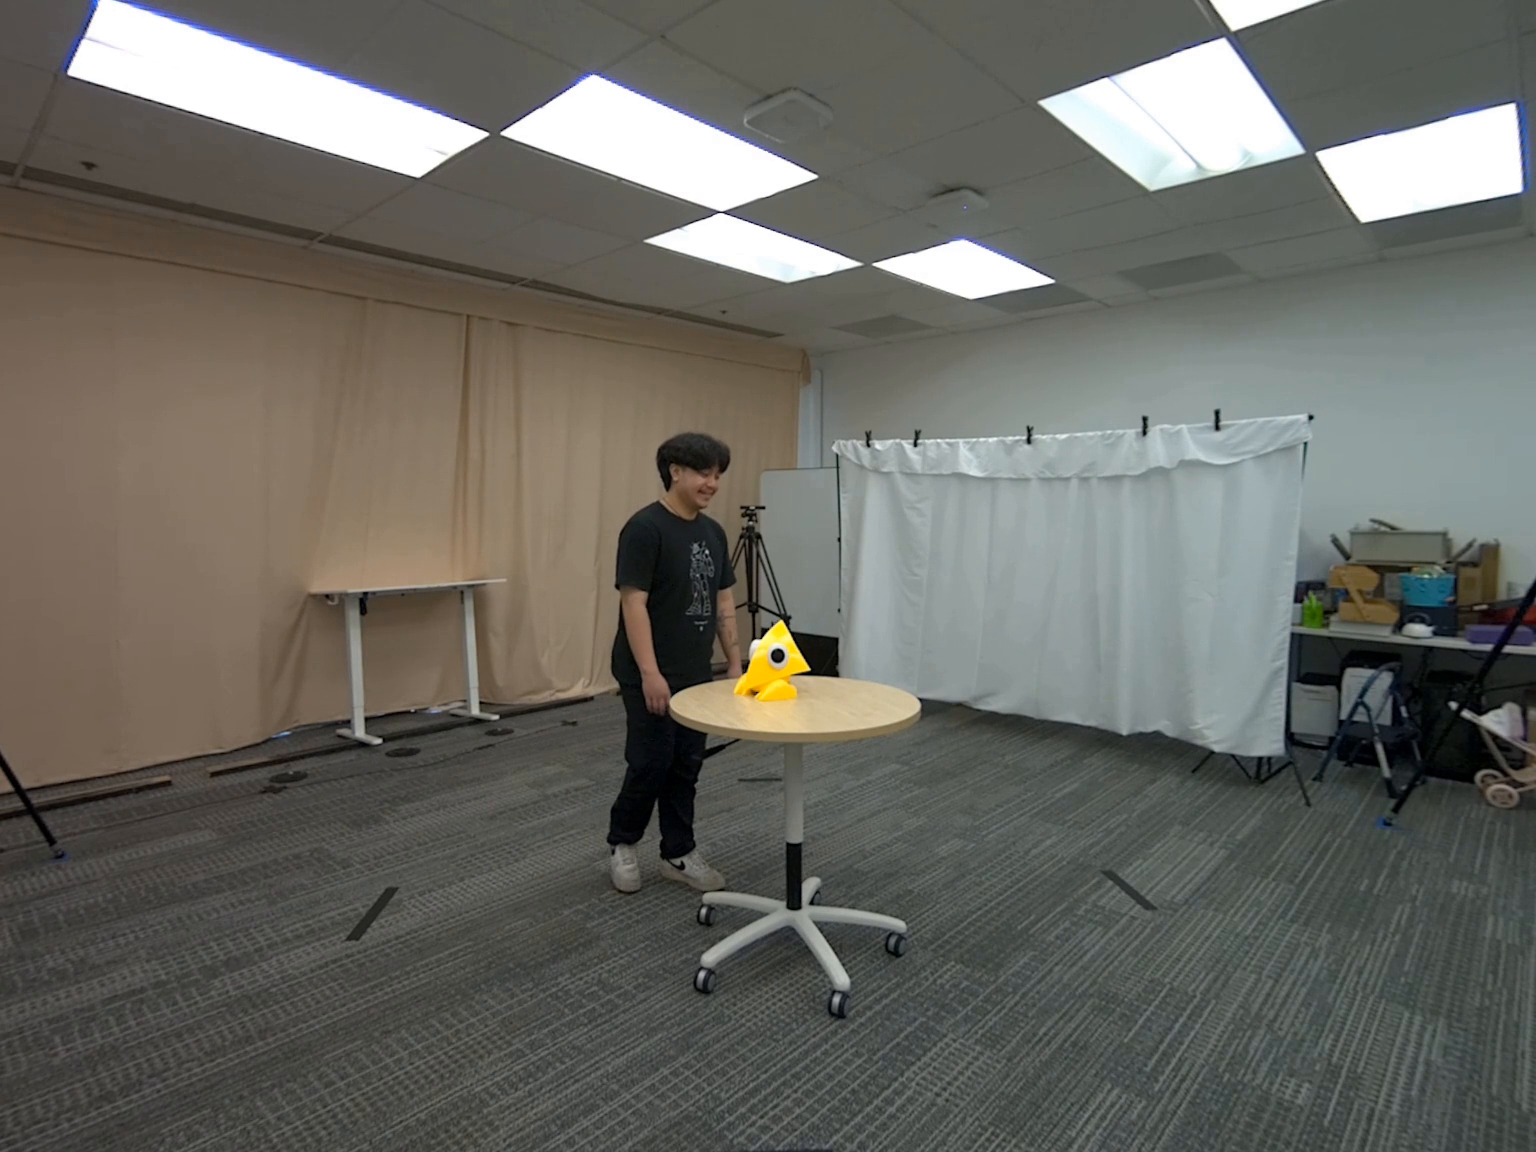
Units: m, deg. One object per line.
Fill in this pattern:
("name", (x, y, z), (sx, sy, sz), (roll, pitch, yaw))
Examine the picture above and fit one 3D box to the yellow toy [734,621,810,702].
("yellow toy", (0.003, 0.263, 2.692), (0.187, 0.230, 0.211), (-4, 5, -39))
